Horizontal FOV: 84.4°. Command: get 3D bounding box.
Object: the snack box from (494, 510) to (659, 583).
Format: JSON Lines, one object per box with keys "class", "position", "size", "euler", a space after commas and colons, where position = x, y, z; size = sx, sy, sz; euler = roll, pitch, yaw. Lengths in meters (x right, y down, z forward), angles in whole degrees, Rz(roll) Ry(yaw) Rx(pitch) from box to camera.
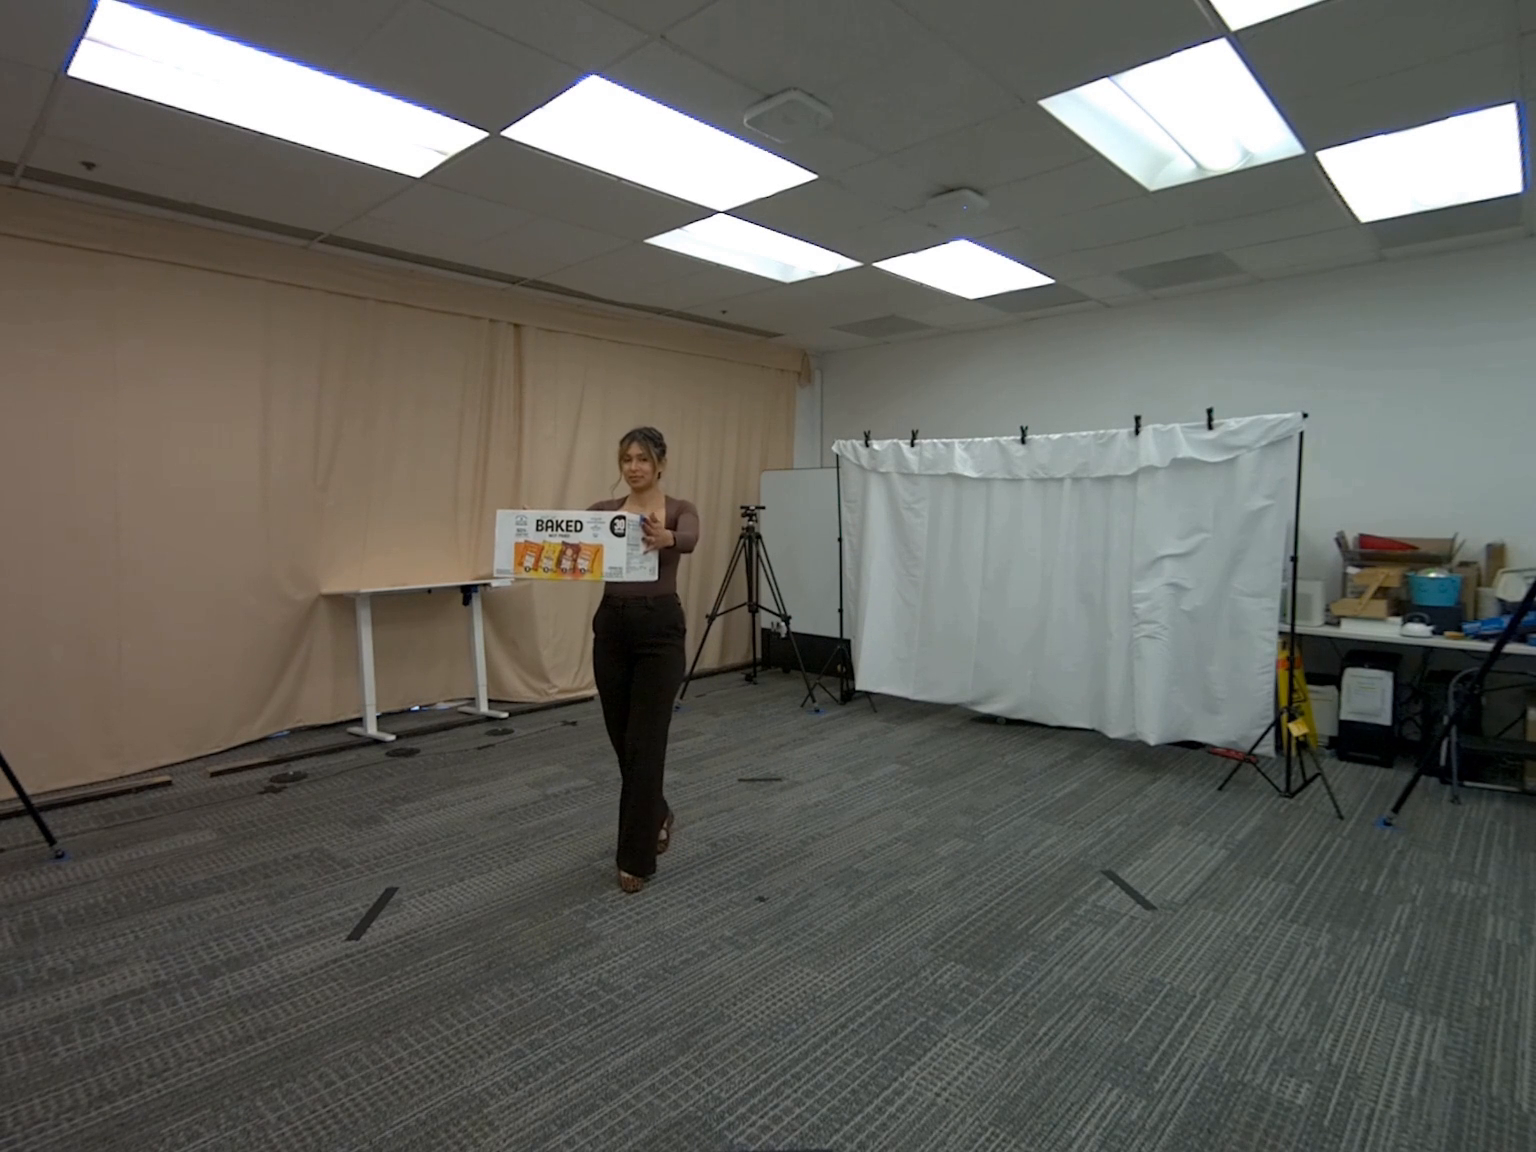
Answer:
{"class": "snack box", "position": [-0.577, -0.089, 2.604], "size": [0.410, 0.206, 0.336], "euler": [2, 0, 10]}
